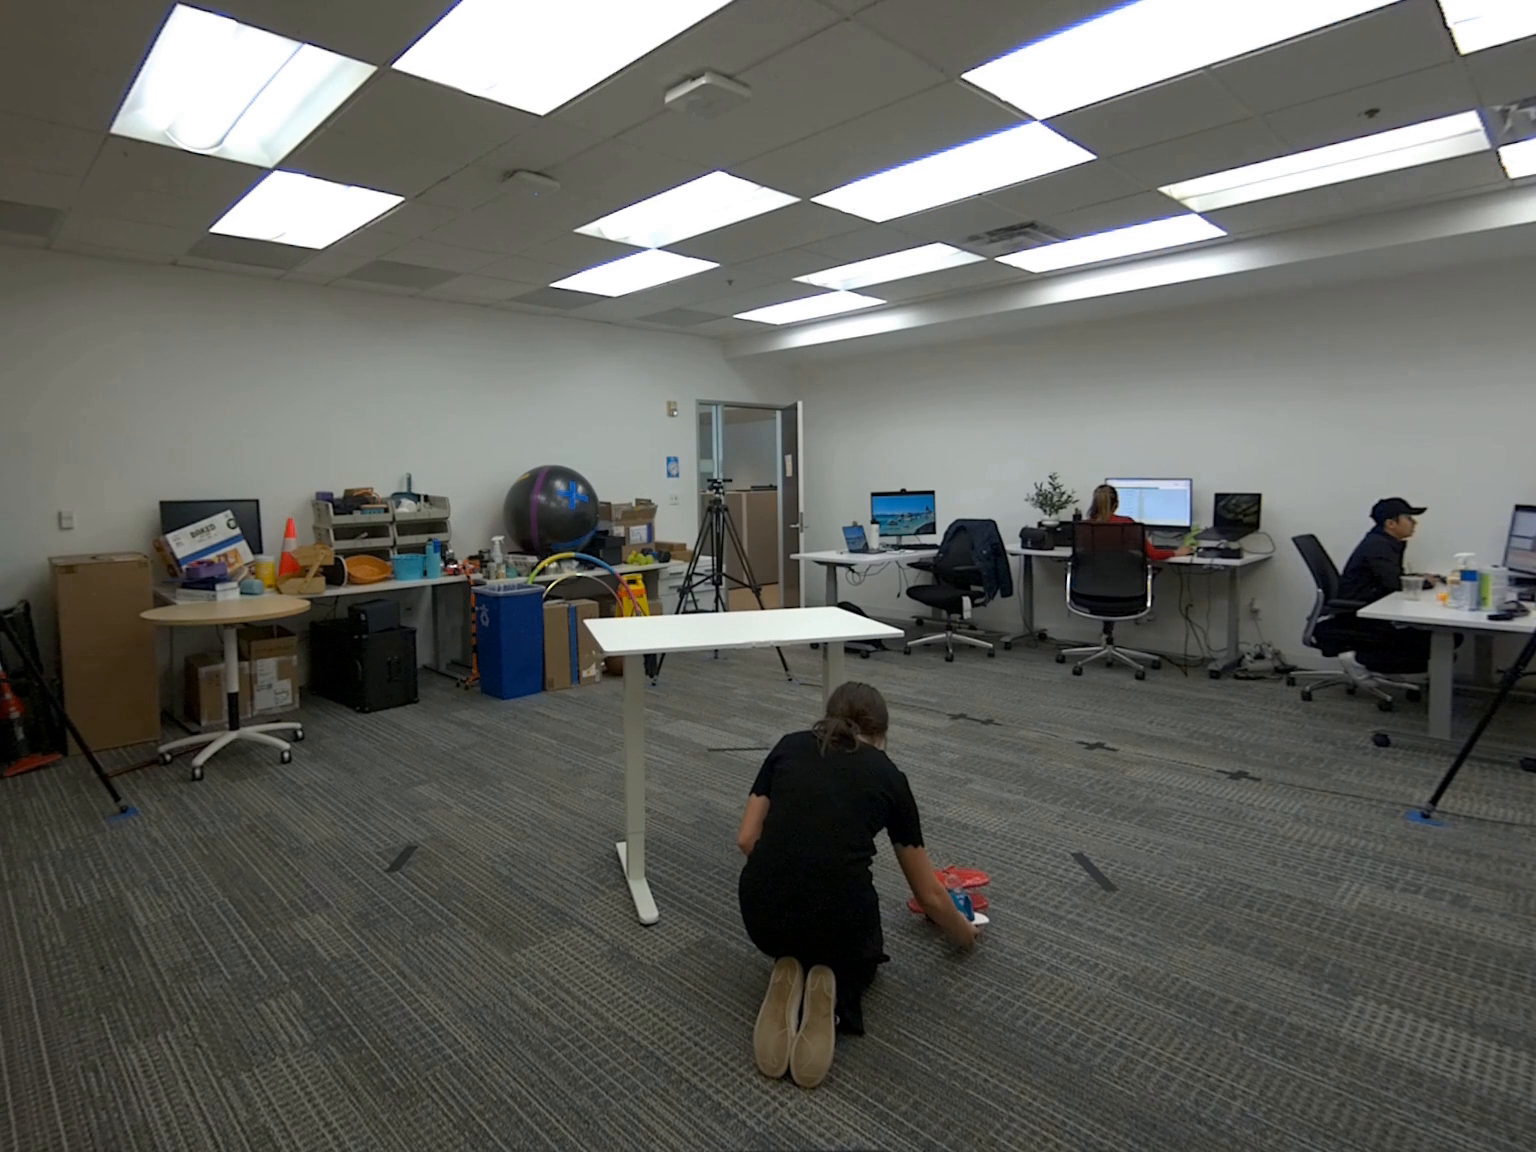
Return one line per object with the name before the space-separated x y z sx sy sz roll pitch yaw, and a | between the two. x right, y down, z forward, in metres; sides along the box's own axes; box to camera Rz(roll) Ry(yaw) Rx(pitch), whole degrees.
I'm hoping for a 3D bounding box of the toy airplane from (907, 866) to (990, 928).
toy airplane | 0.590 1.001 2.617 0.244 0.157 0.265 2 -7 -37
